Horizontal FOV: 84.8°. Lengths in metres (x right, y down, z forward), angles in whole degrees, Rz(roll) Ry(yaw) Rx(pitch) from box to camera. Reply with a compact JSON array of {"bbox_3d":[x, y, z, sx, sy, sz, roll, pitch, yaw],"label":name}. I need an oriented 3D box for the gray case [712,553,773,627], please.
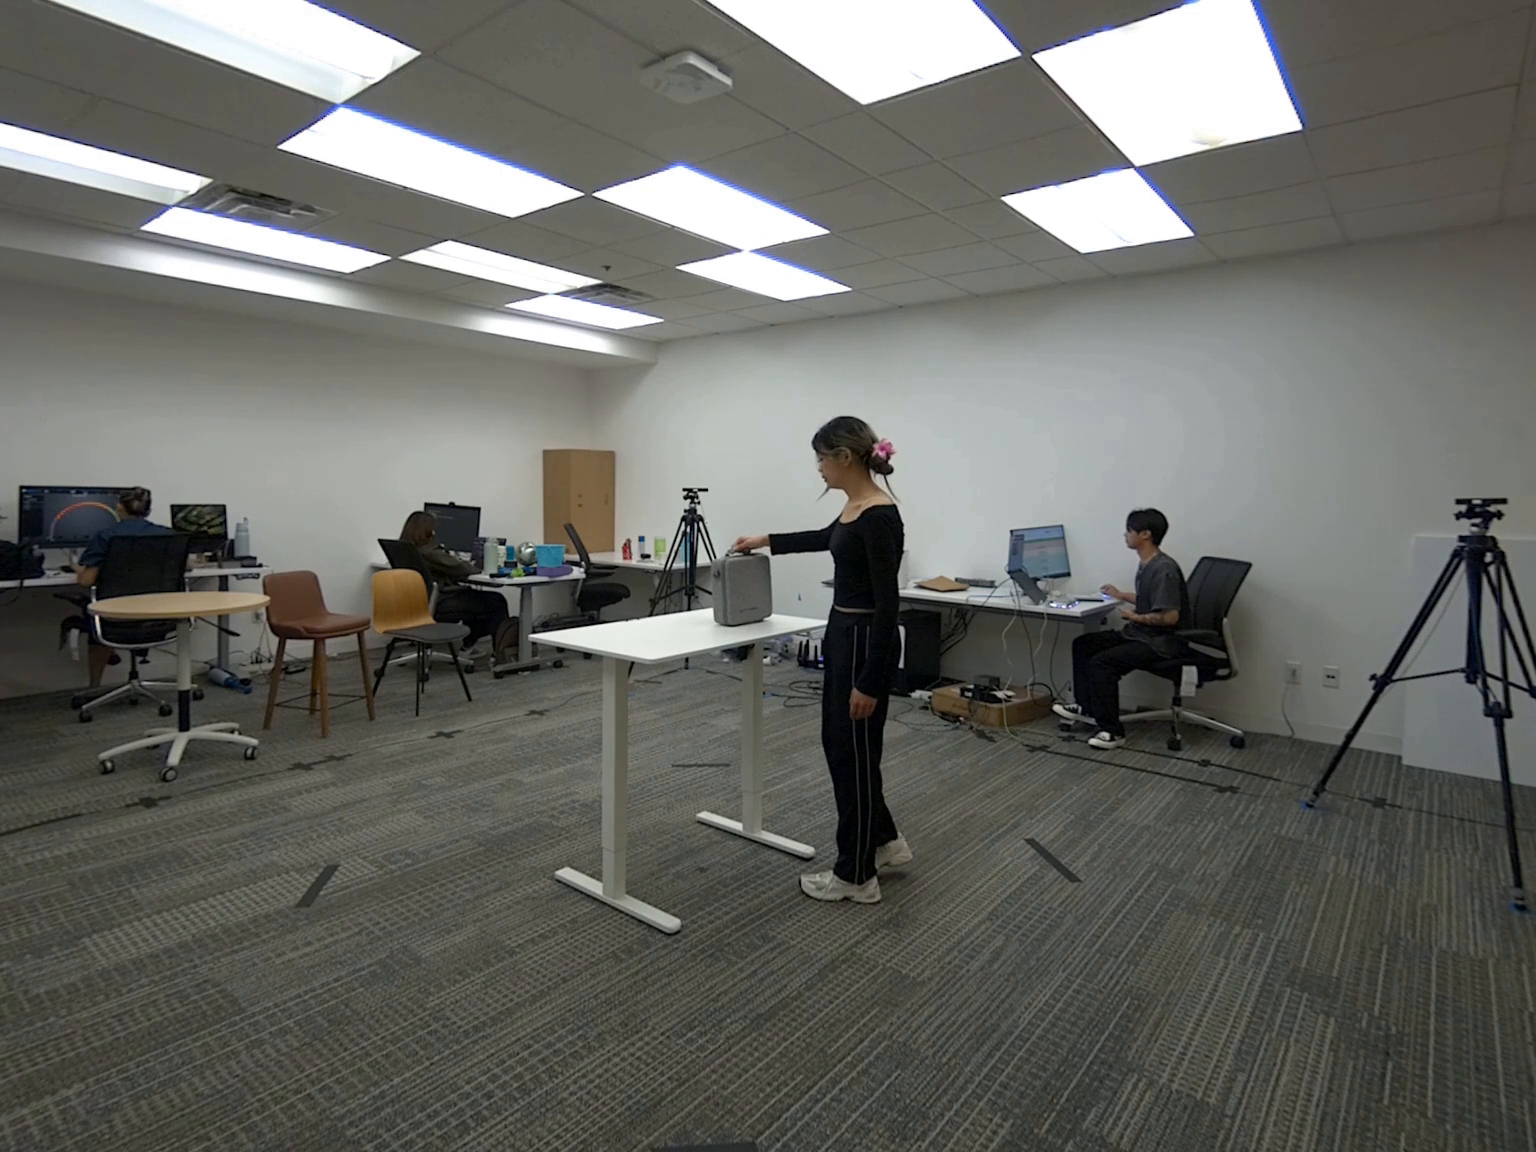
[{"bbox_3d":[-0.109,0.041,3.225,0.107,0.260,0.249,0,4,42],"label":"gray case"}]
